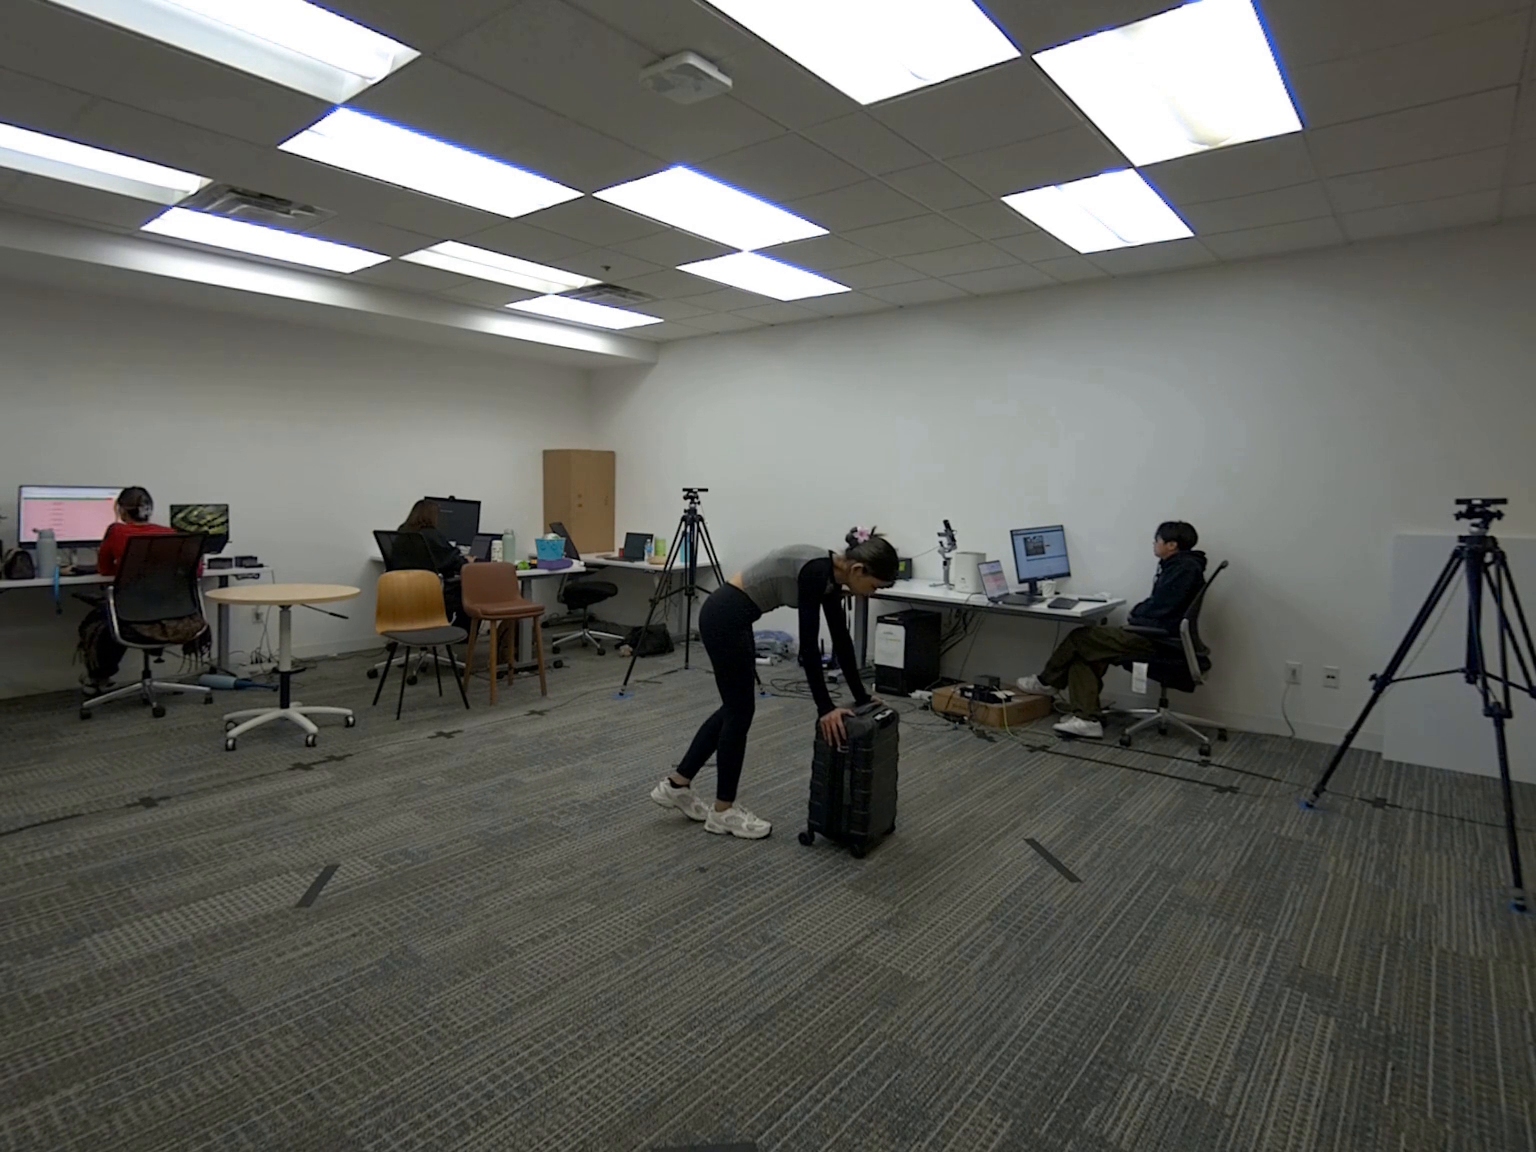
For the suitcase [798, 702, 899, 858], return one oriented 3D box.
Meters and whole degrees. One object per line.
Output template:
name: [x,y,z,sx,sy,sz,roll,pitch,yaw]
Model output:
suitcase: [0.343,0.784,3.386,0.256,0.546,0.366,6,7,29]
